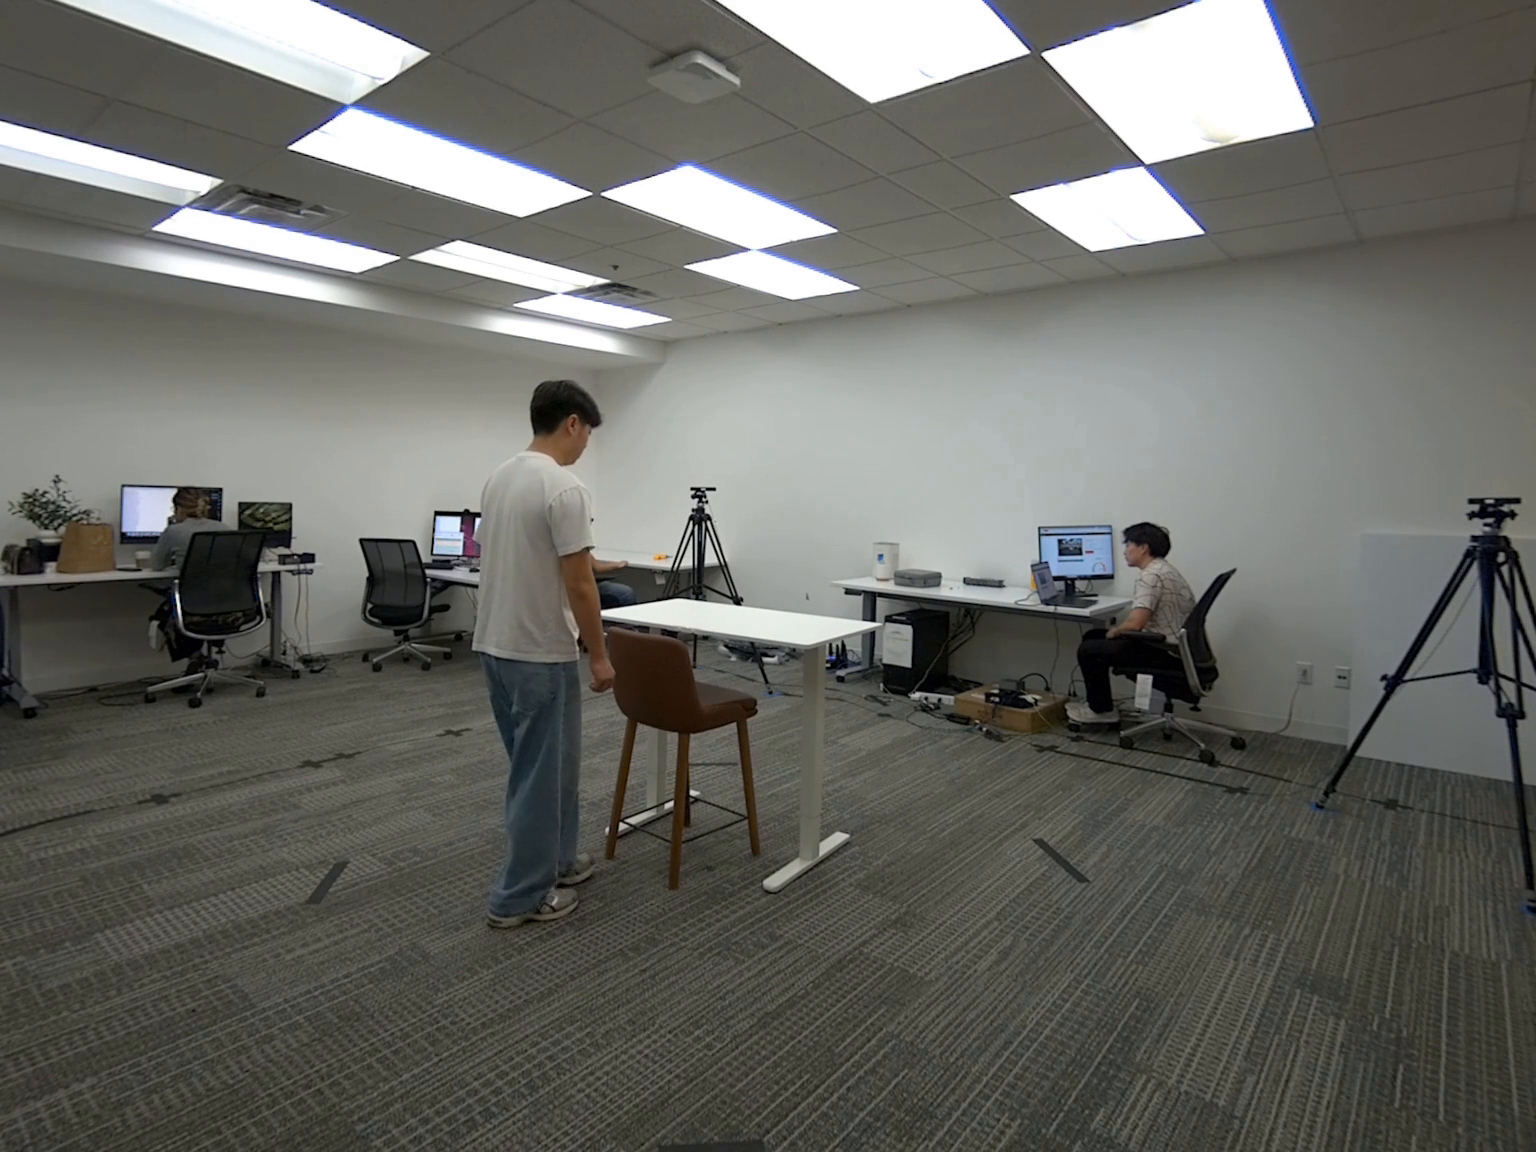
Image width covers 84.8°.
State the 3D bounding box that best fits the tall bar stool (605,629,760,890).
[{"bbox_3d":[-0.346,0.618,3.188,0.472,0.886,0.454,4,6,42],"label":"tall bar stool"}]
